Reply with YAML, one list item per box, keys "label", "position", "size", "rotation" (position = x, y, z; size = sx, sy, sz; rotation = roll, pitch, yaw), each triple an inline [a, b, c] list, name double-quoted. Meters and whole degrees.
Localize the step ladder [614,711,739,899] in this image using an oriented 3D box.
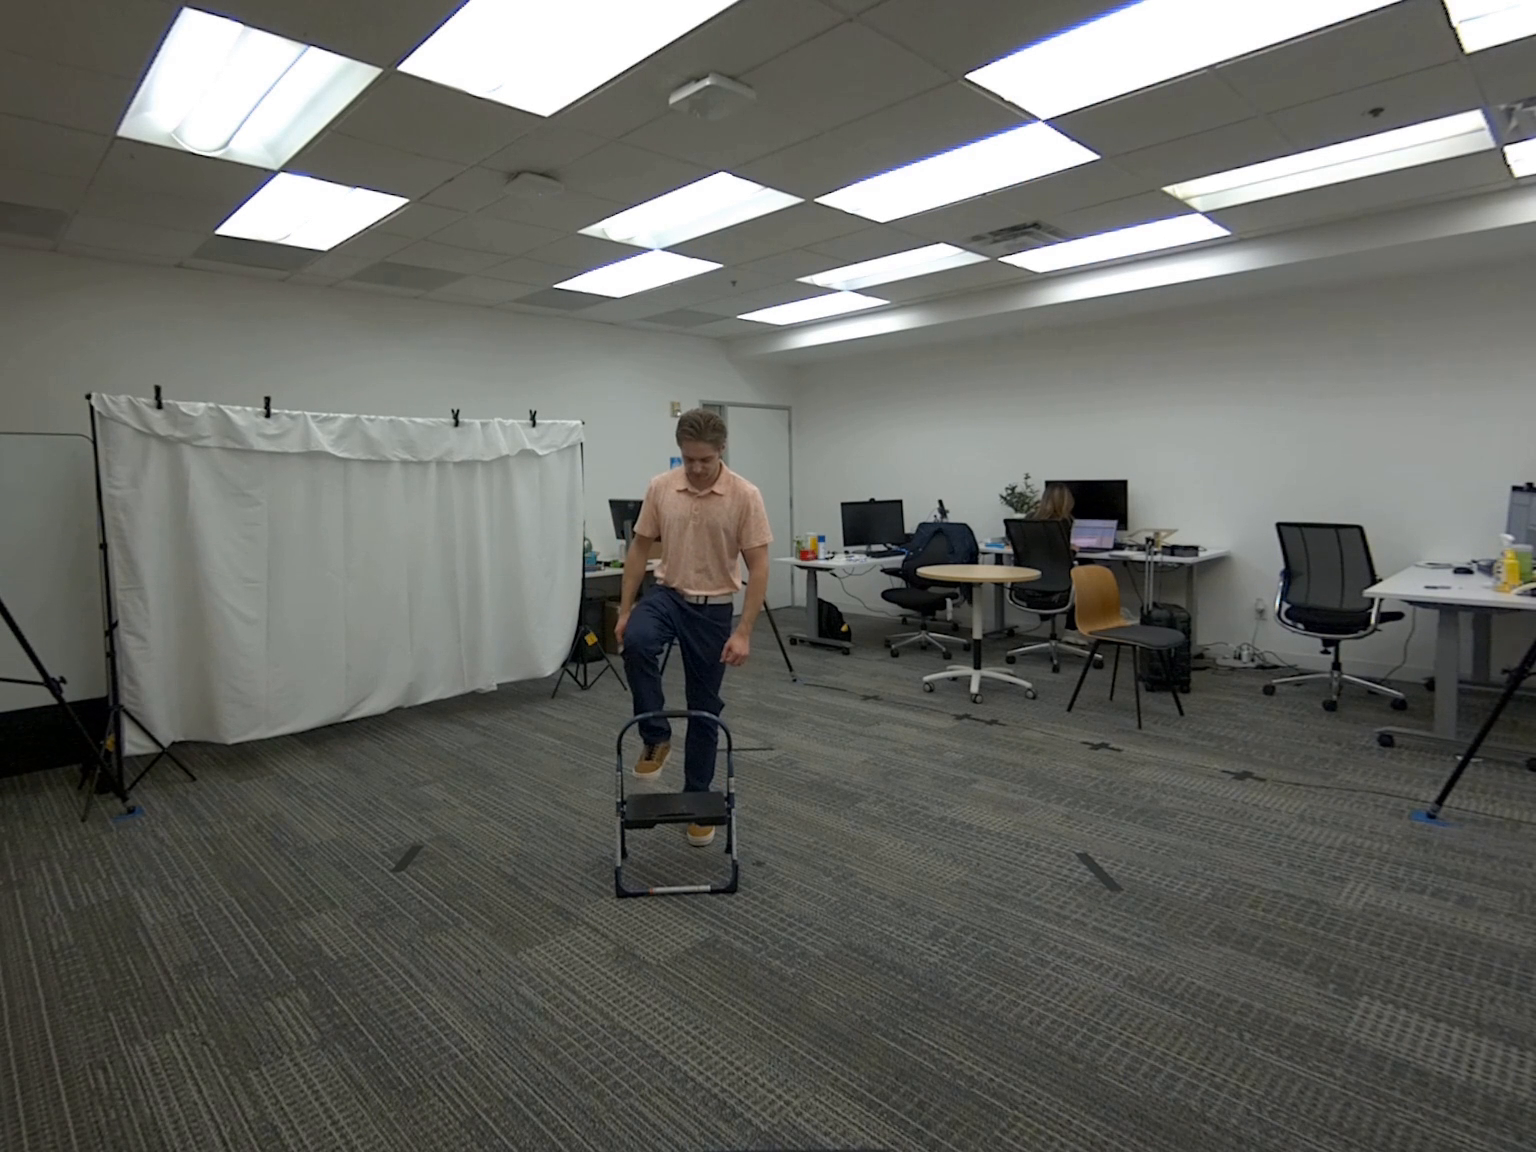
- label: "step ladder"
  position: [-0.330, 0.760, 3.027]
  size: [0.429, 0.604, 0.352]
  rotation: [-1, 5, -5]
